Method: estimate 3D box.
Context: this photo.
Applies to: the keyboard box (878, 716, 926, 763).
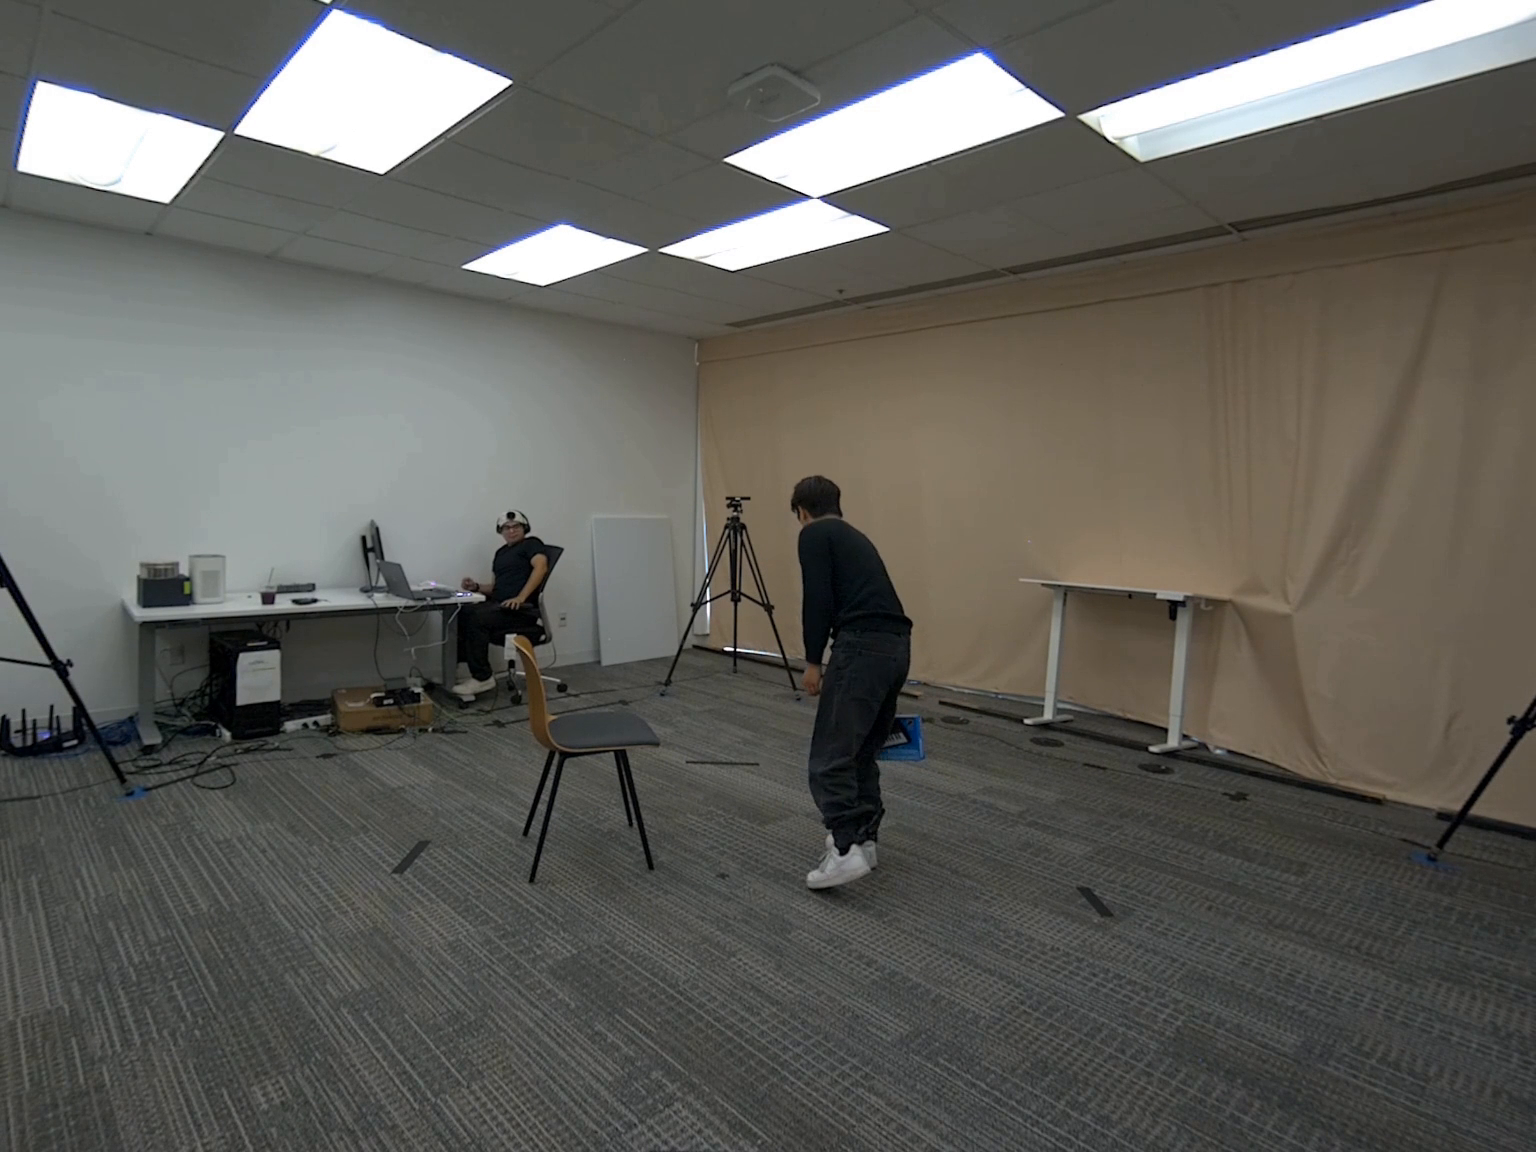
[{"bbox_3d":[0.400,0.660,3.417,0.445,0.177,0.058,-6,-8,32],"label":"keyboard box"}]
